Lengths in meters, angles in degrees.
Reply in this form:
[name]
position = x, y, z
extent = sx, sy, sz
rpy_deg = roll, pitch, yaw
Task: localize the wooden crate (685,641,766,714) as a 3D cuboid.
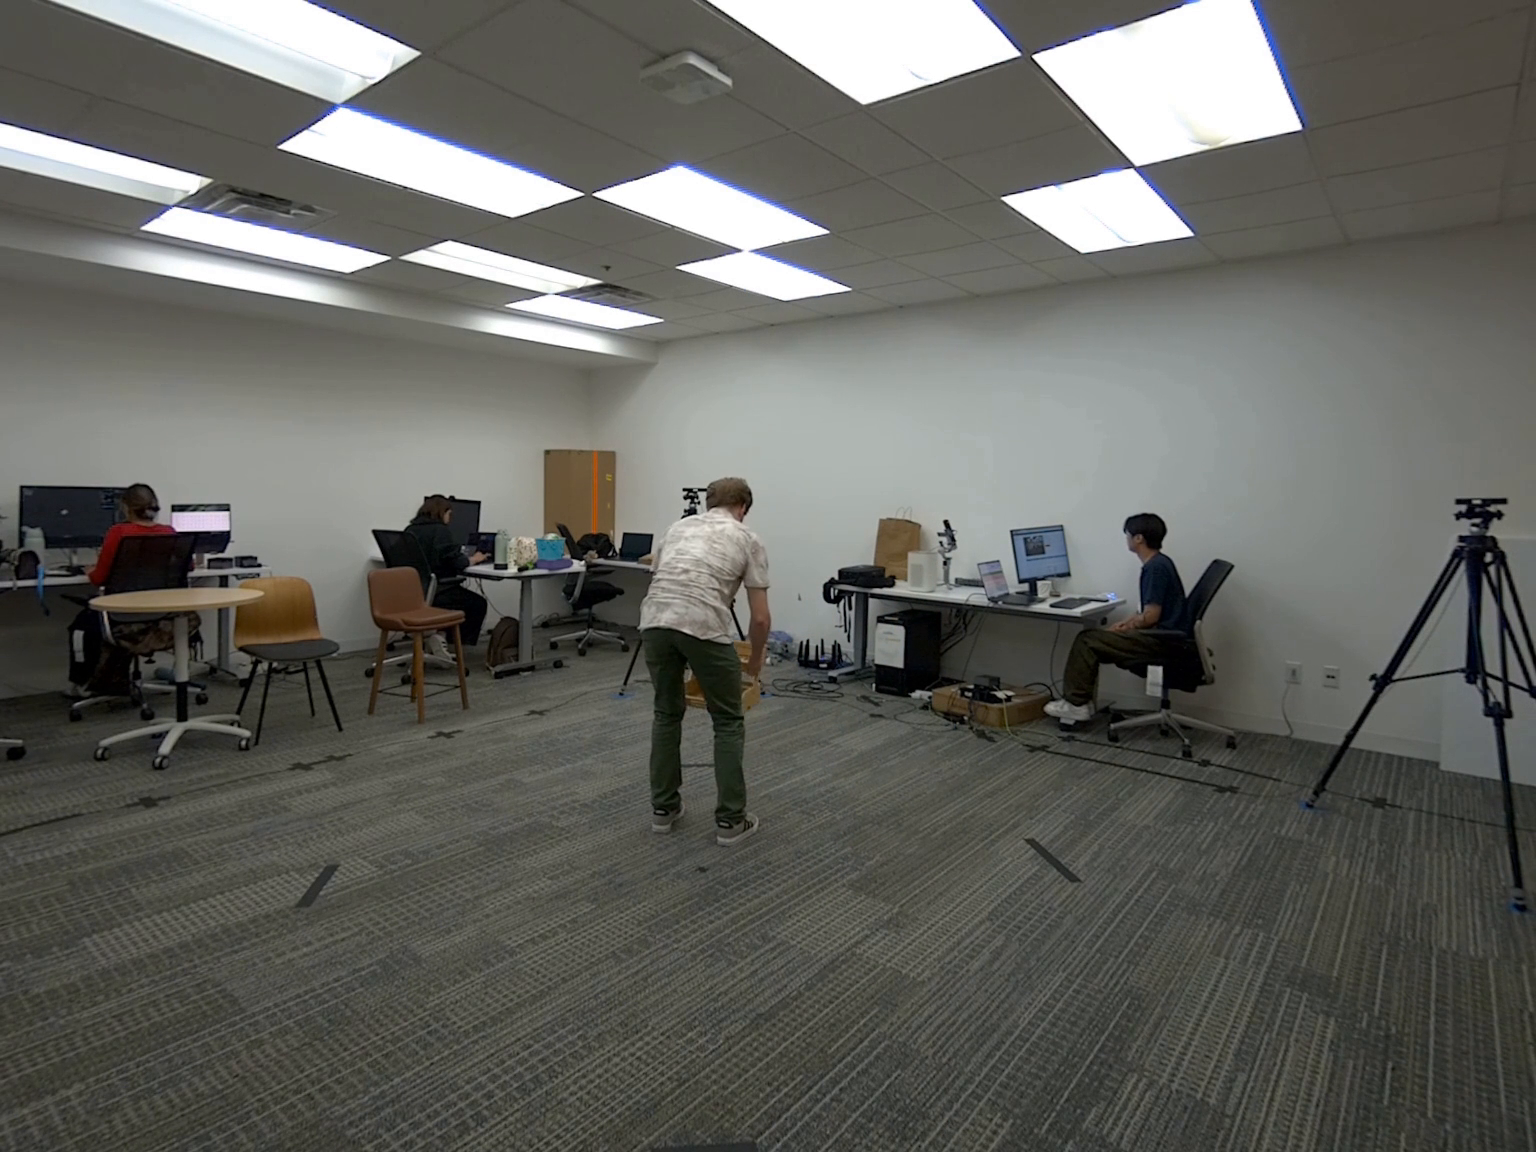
[wooden crate]
position = -0.215, 0.435, 3.816
extent = 0.332, 0.272, 0.296
rpy_deg = 5, 6, 22
